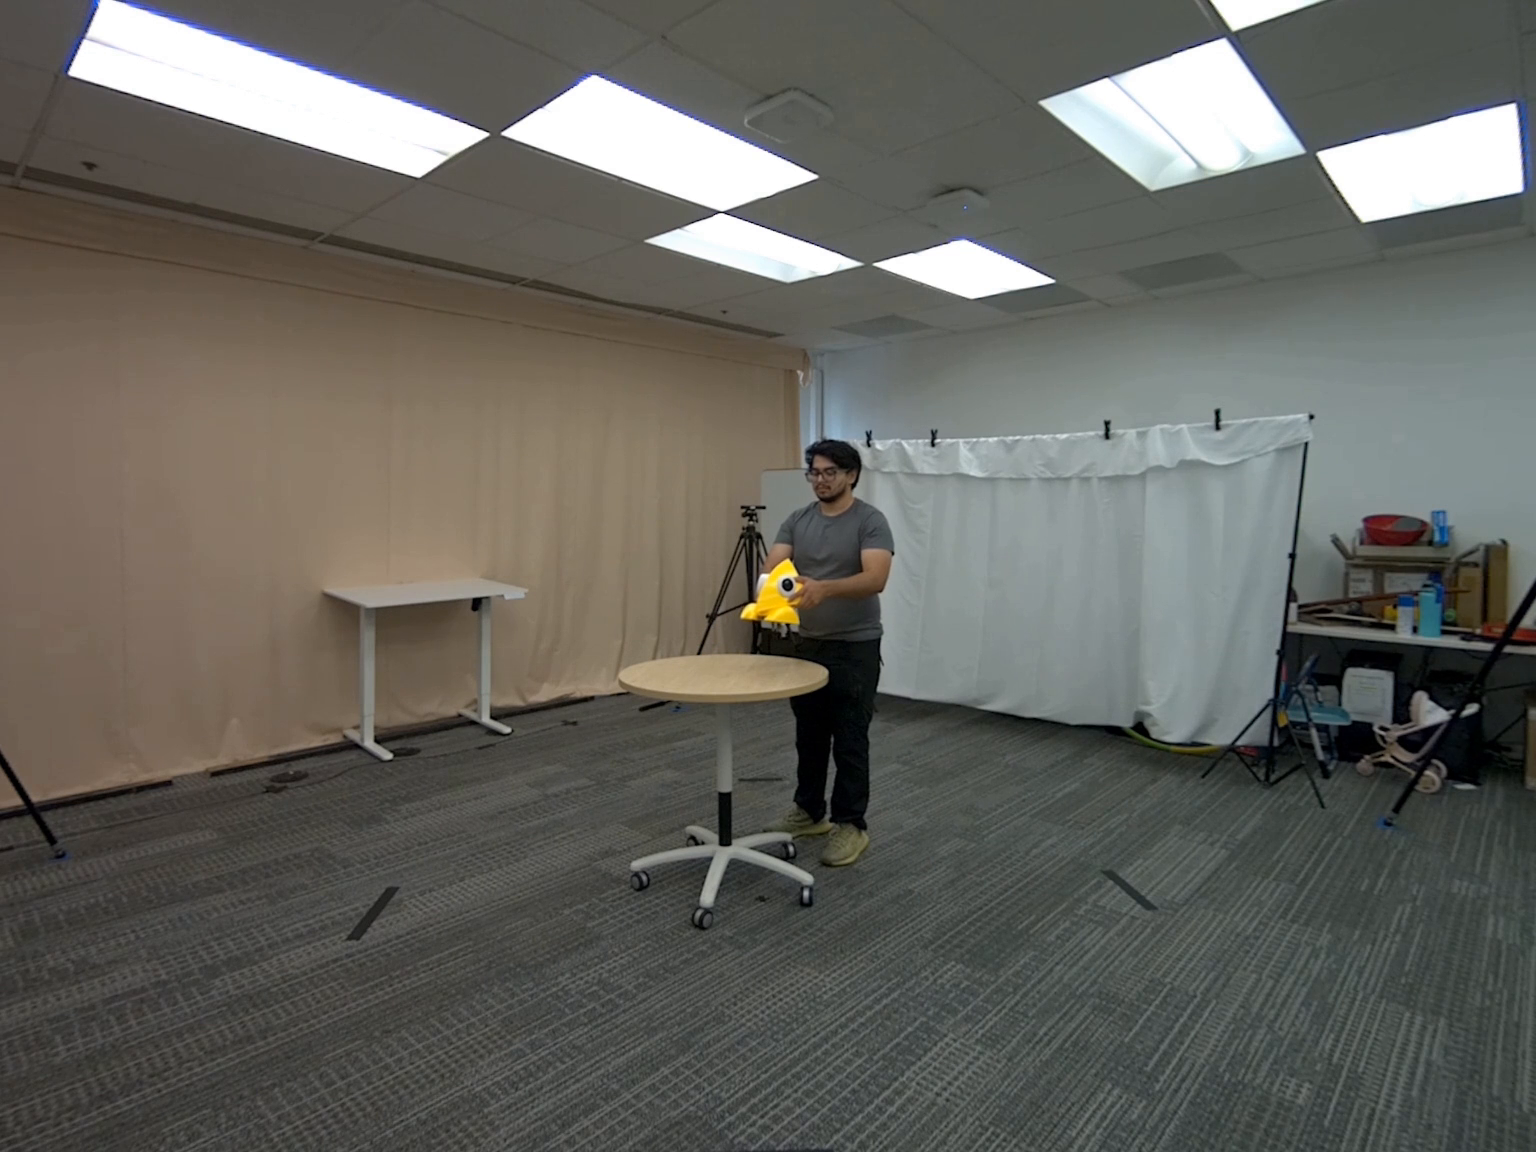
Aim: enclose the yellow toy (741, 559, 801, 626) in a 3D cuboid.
[{"bbox_3d":[0.026,0.050,2.971,0.211,0.231,0.186,2,-5,42],"label":"yellow toy"}]
